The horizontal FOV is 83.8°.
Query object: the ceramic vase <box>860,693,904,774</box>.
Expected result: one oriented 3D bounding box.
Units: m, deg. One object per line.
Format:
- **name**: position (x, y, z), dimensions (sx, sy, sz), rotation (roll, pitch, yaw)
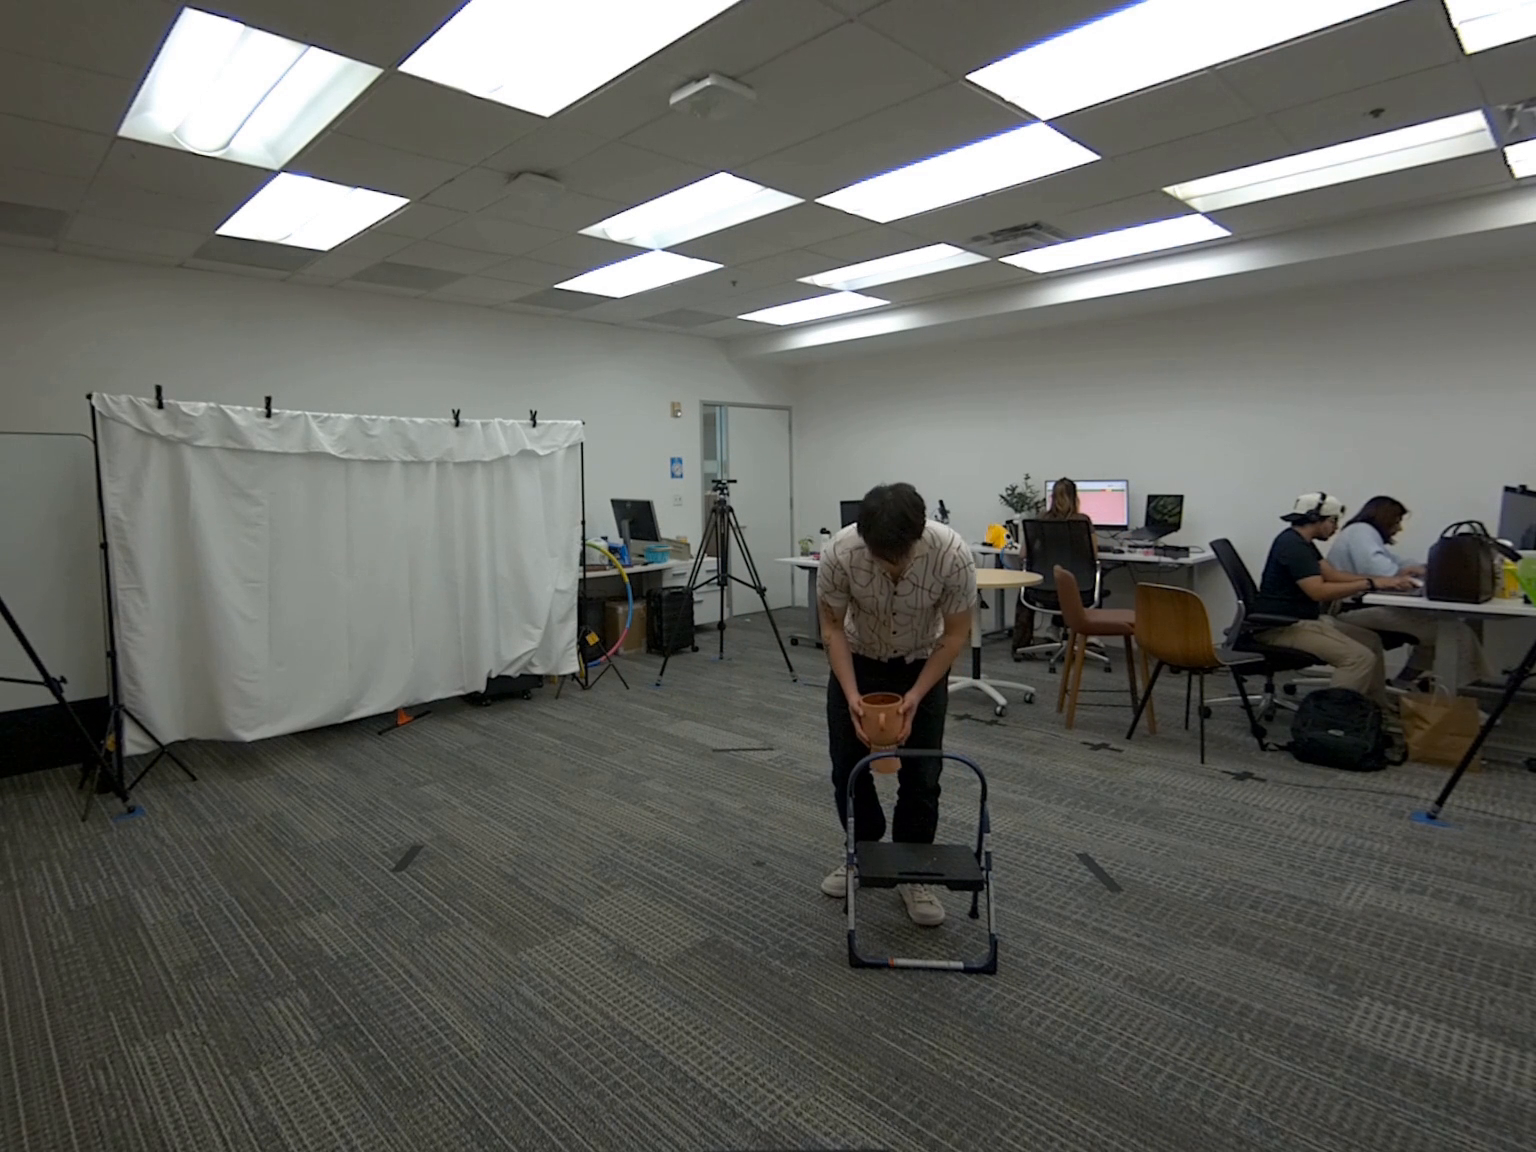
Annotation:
- **ceramic vase**: position (0.371, 0.495, 2.661), dimensions (0.155, 0.218, 0.139), rotation (-12, 12, -40)
